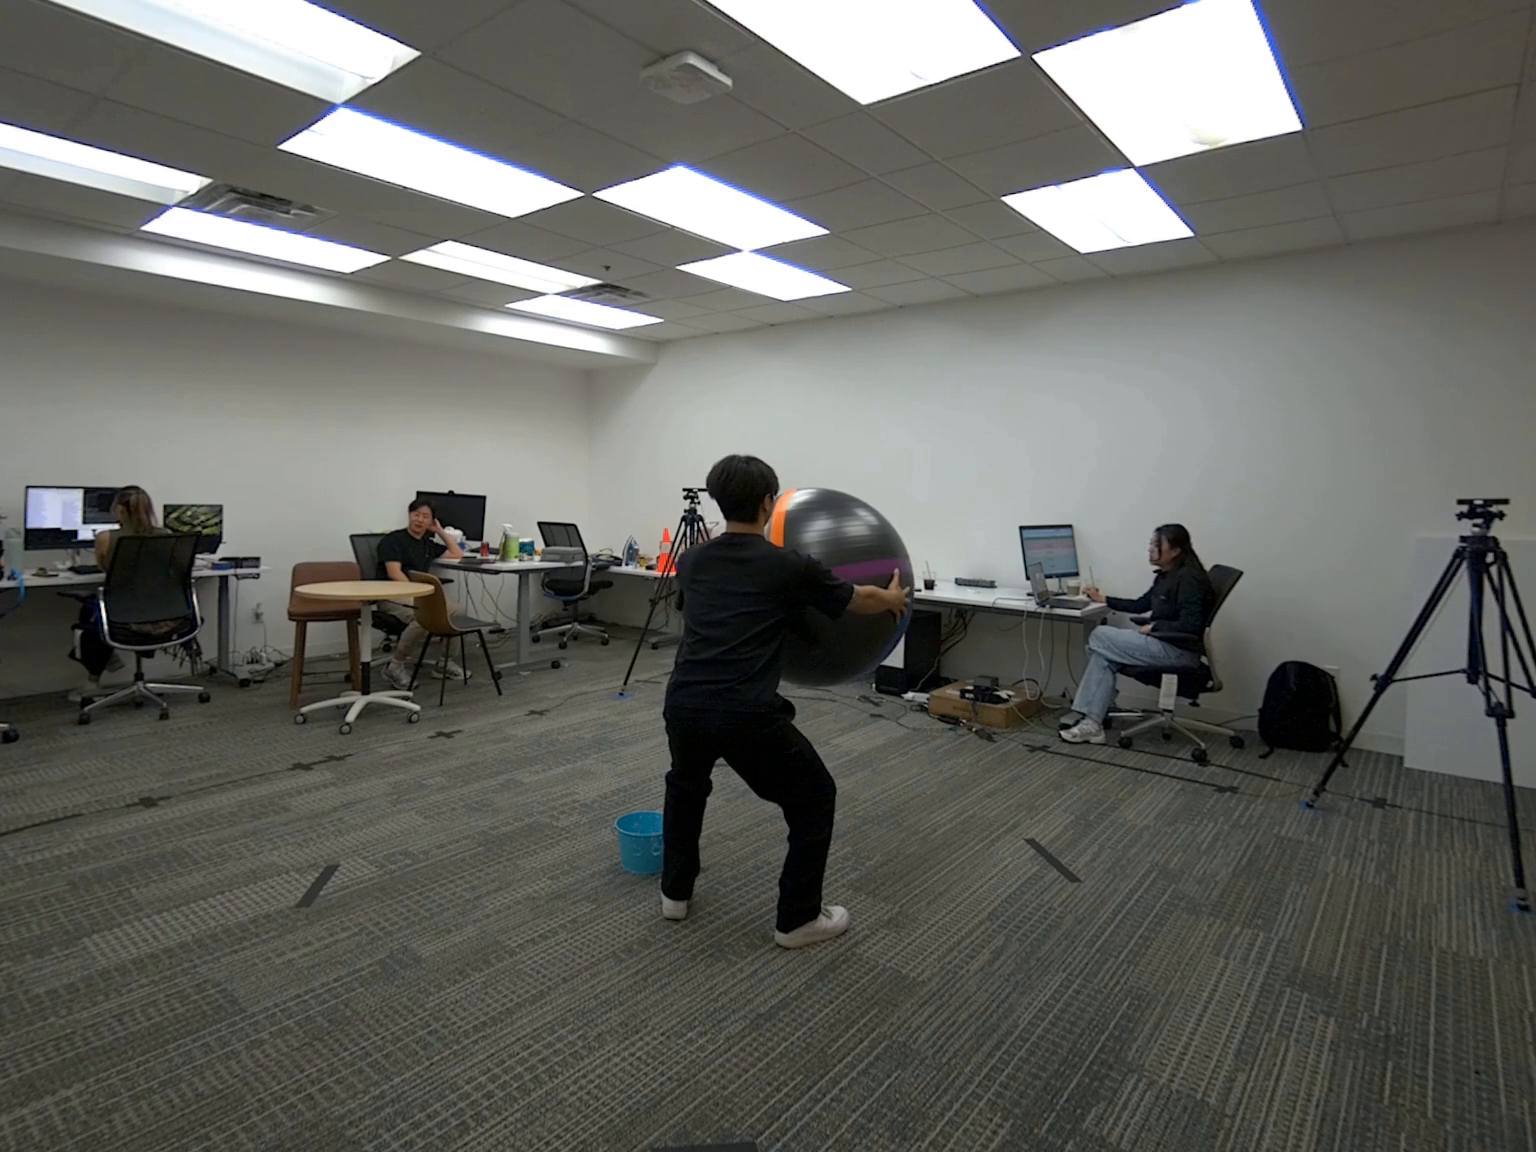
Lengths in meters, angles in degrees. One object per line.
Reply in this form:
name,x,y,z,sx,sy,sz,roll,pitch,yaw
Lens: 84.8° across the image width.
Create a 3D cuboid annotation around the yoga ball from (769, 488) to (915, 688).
yoga ball,0.184,0.042,3.299,0.757,0.755,0.762,1,4,-2
